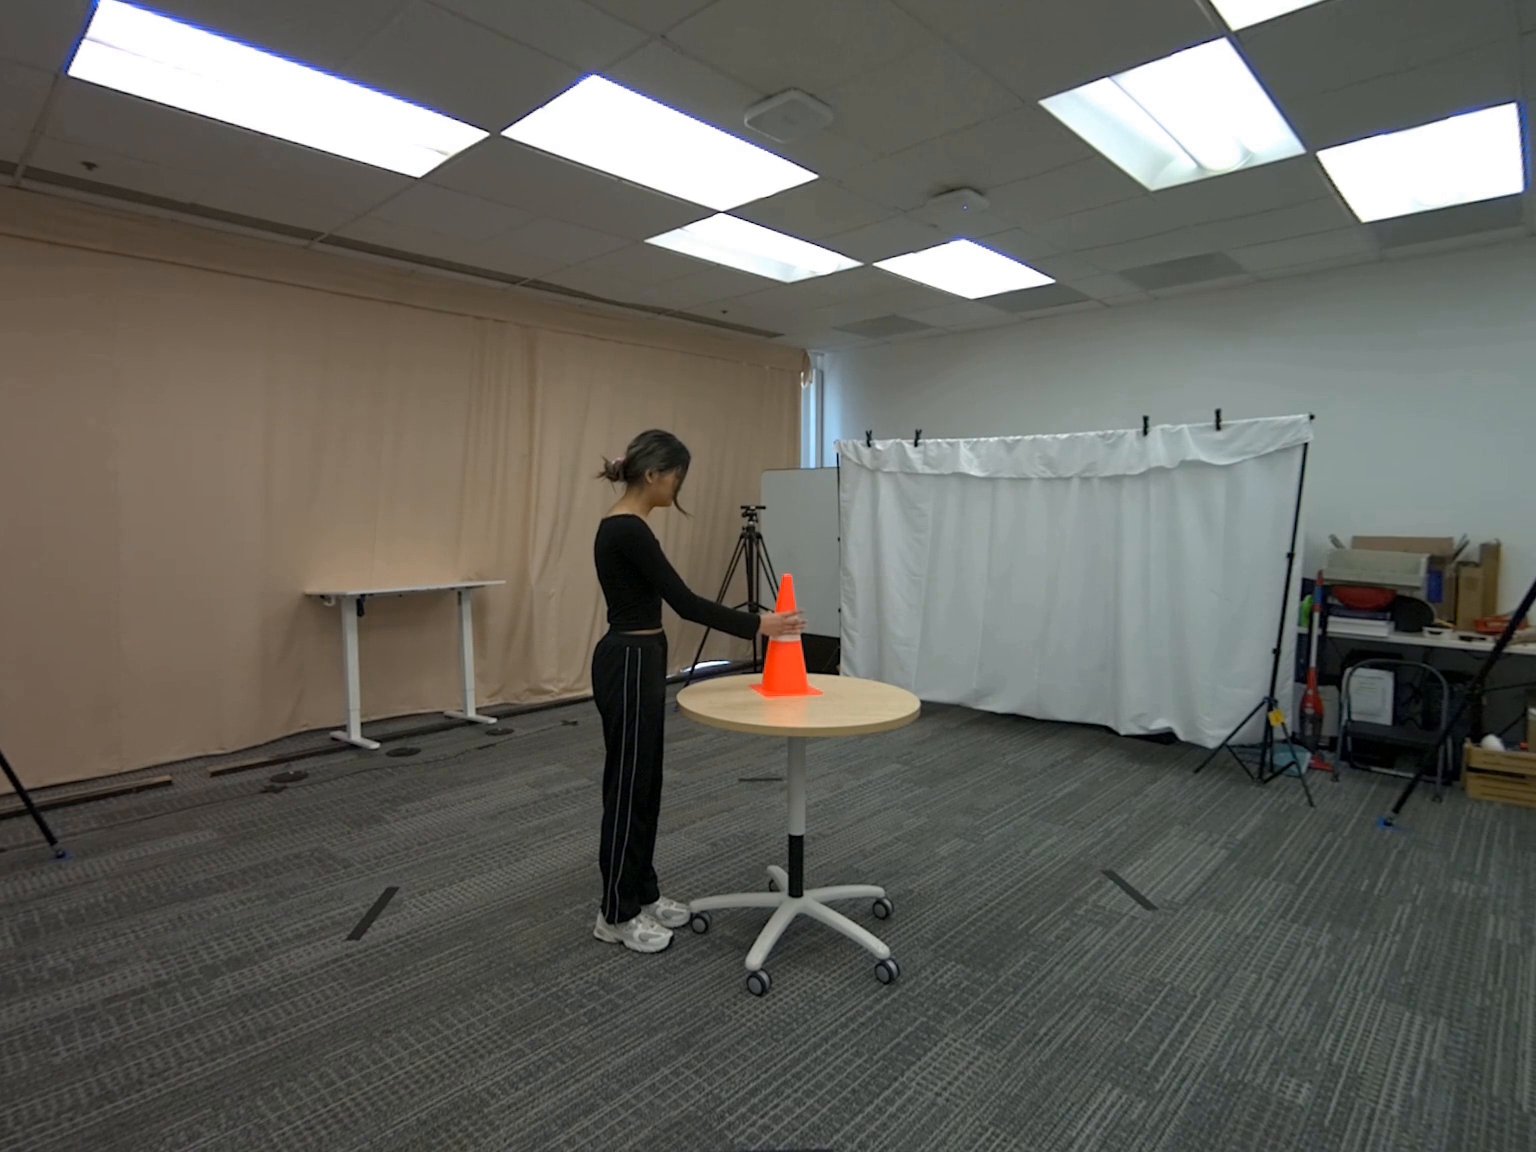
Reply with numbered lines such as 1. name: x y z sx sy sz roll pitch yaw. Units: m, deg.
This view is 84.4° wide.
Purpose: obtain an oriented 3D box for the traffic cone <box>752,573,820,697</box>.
1. traffic cone: 0.058 0.190 2.763 0.200 0.383 0.209 -1 4 -16
